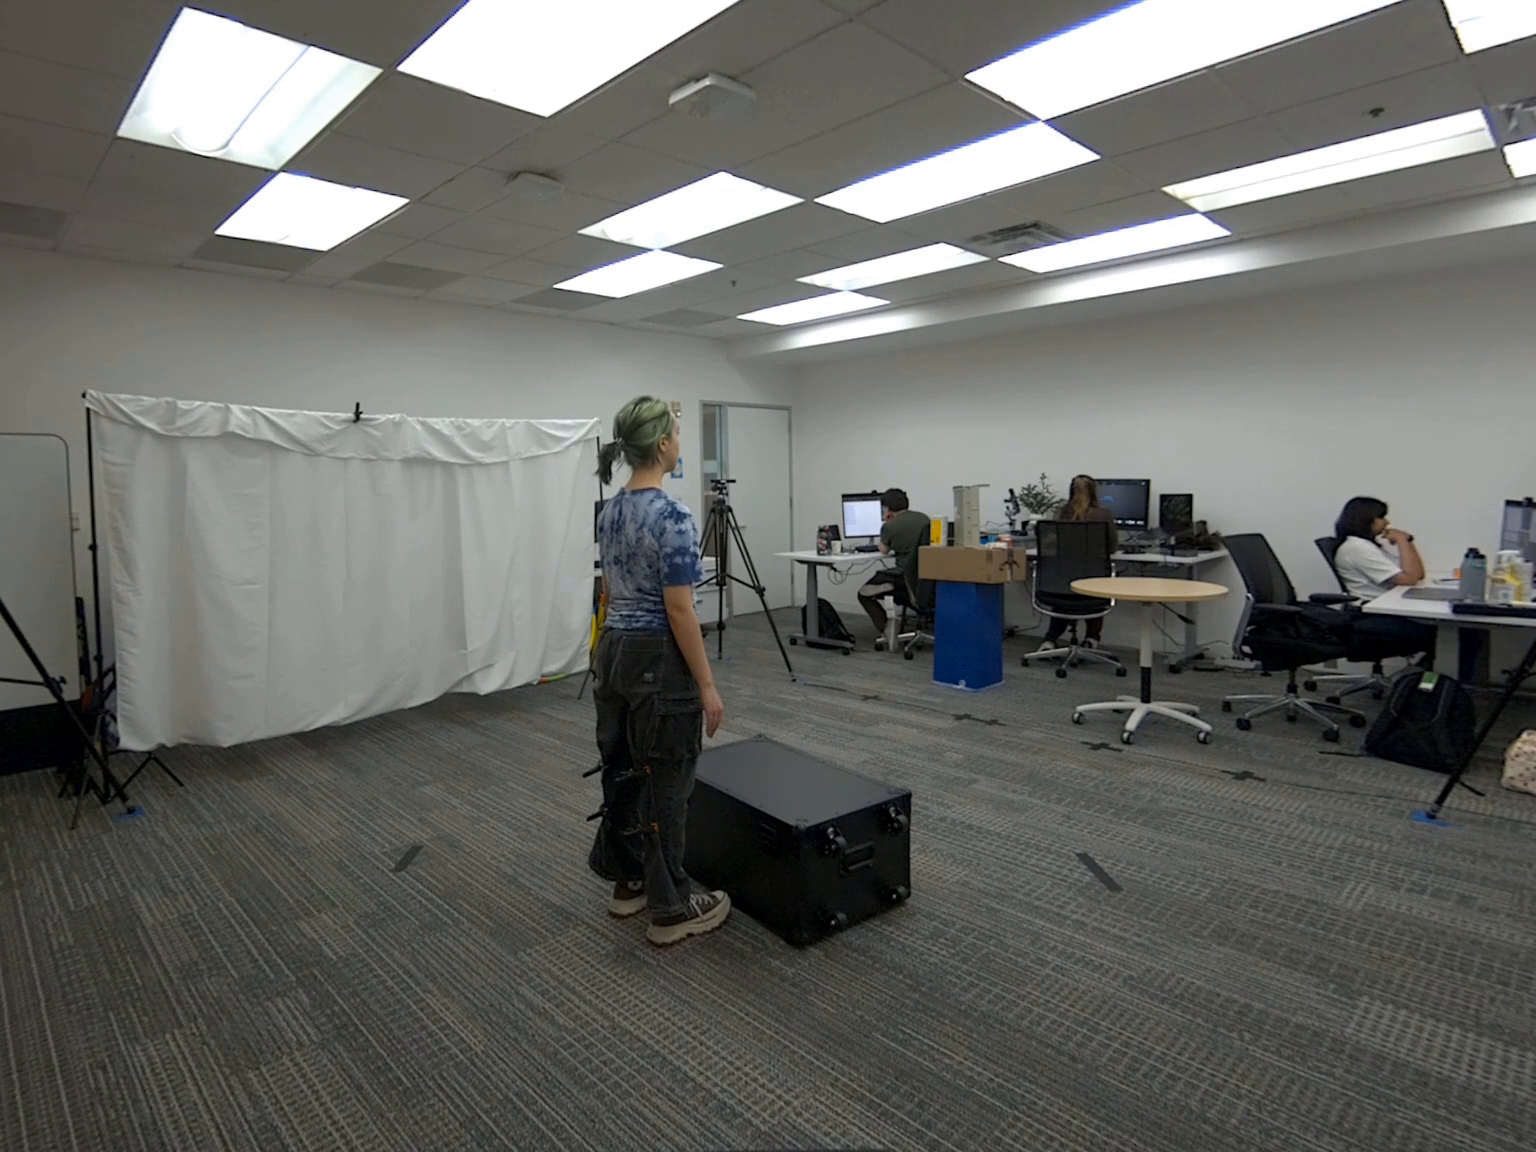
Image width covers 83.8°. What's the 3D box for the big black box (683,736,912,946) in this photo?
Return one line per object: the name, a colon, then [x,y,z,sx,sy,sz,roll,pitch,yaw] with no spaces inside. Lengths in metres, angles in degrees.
big black box: [0.058,0.874,2.935,0.508,0.395,0.887,-5,6,-37]
